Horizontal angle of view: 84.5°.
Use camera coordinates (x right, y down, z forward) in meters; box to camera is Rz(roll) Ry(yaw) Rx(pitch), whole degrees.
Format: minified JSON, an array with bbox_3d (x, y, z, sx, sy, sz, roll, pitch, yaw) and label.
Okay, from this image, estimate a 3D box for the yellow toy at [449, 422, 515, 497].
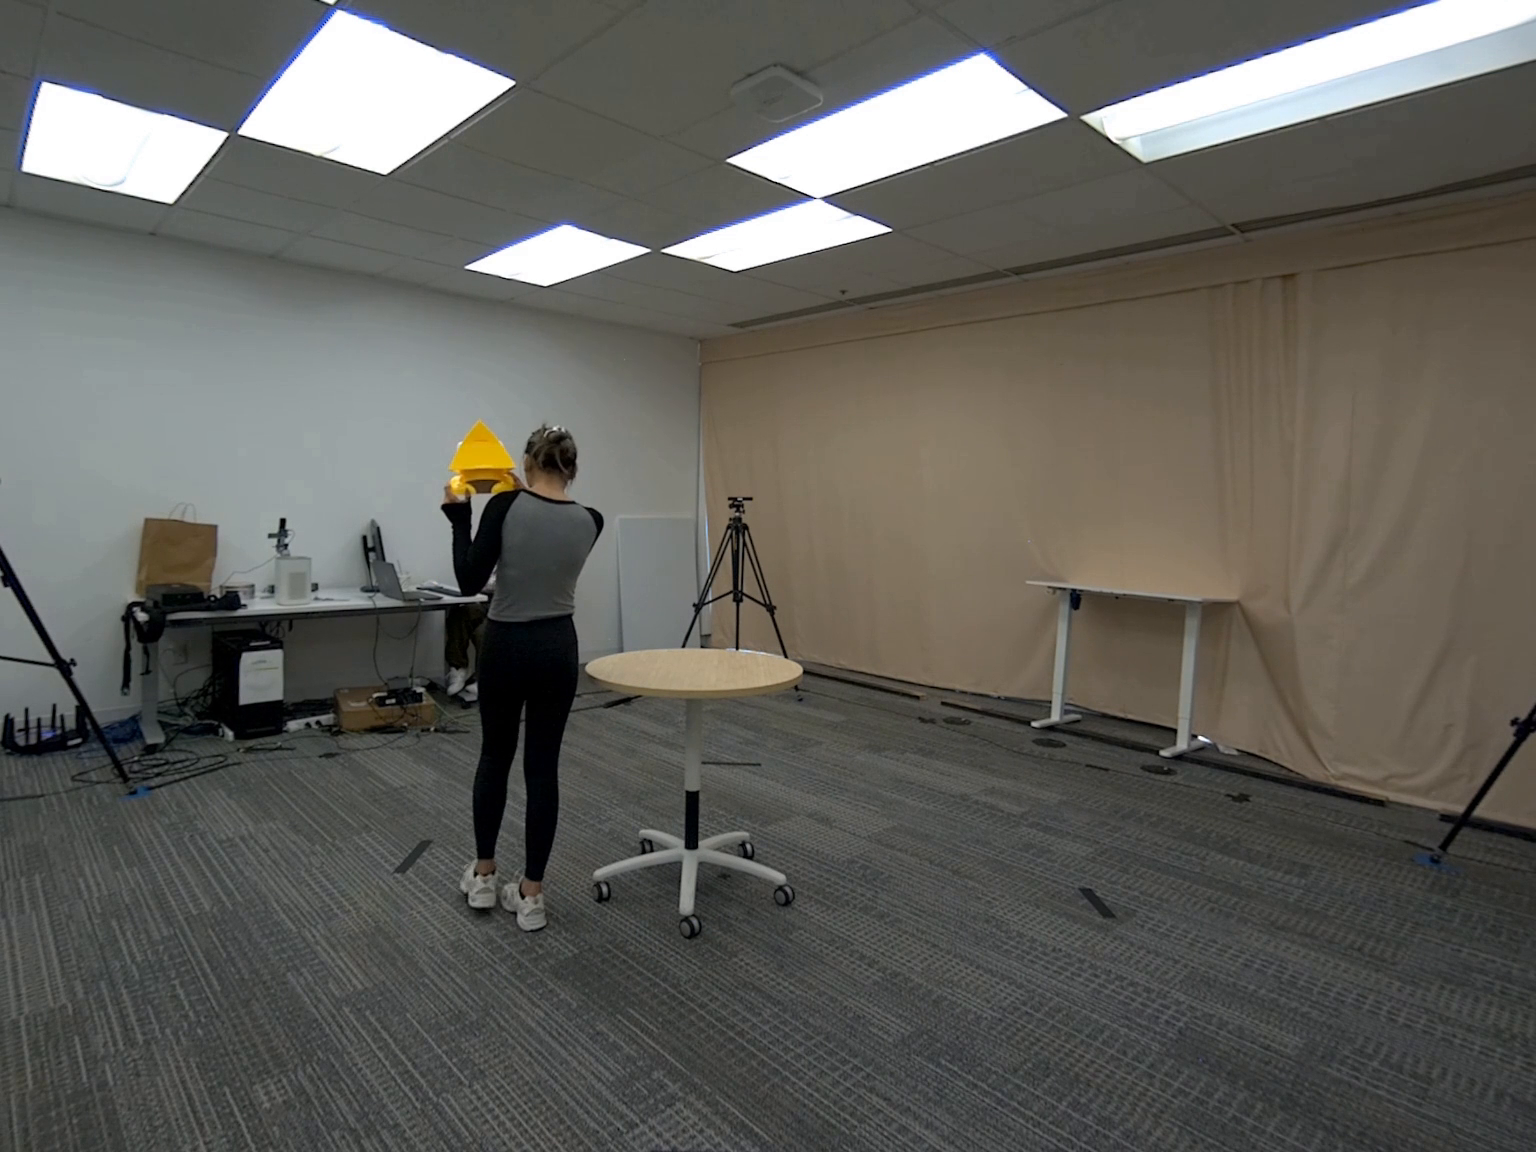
[{"bbox_3d":[-0.921,-0.380,2.695,0.202,0.229,0.197,-4,8,-20],"label":"yellow toy"}]
